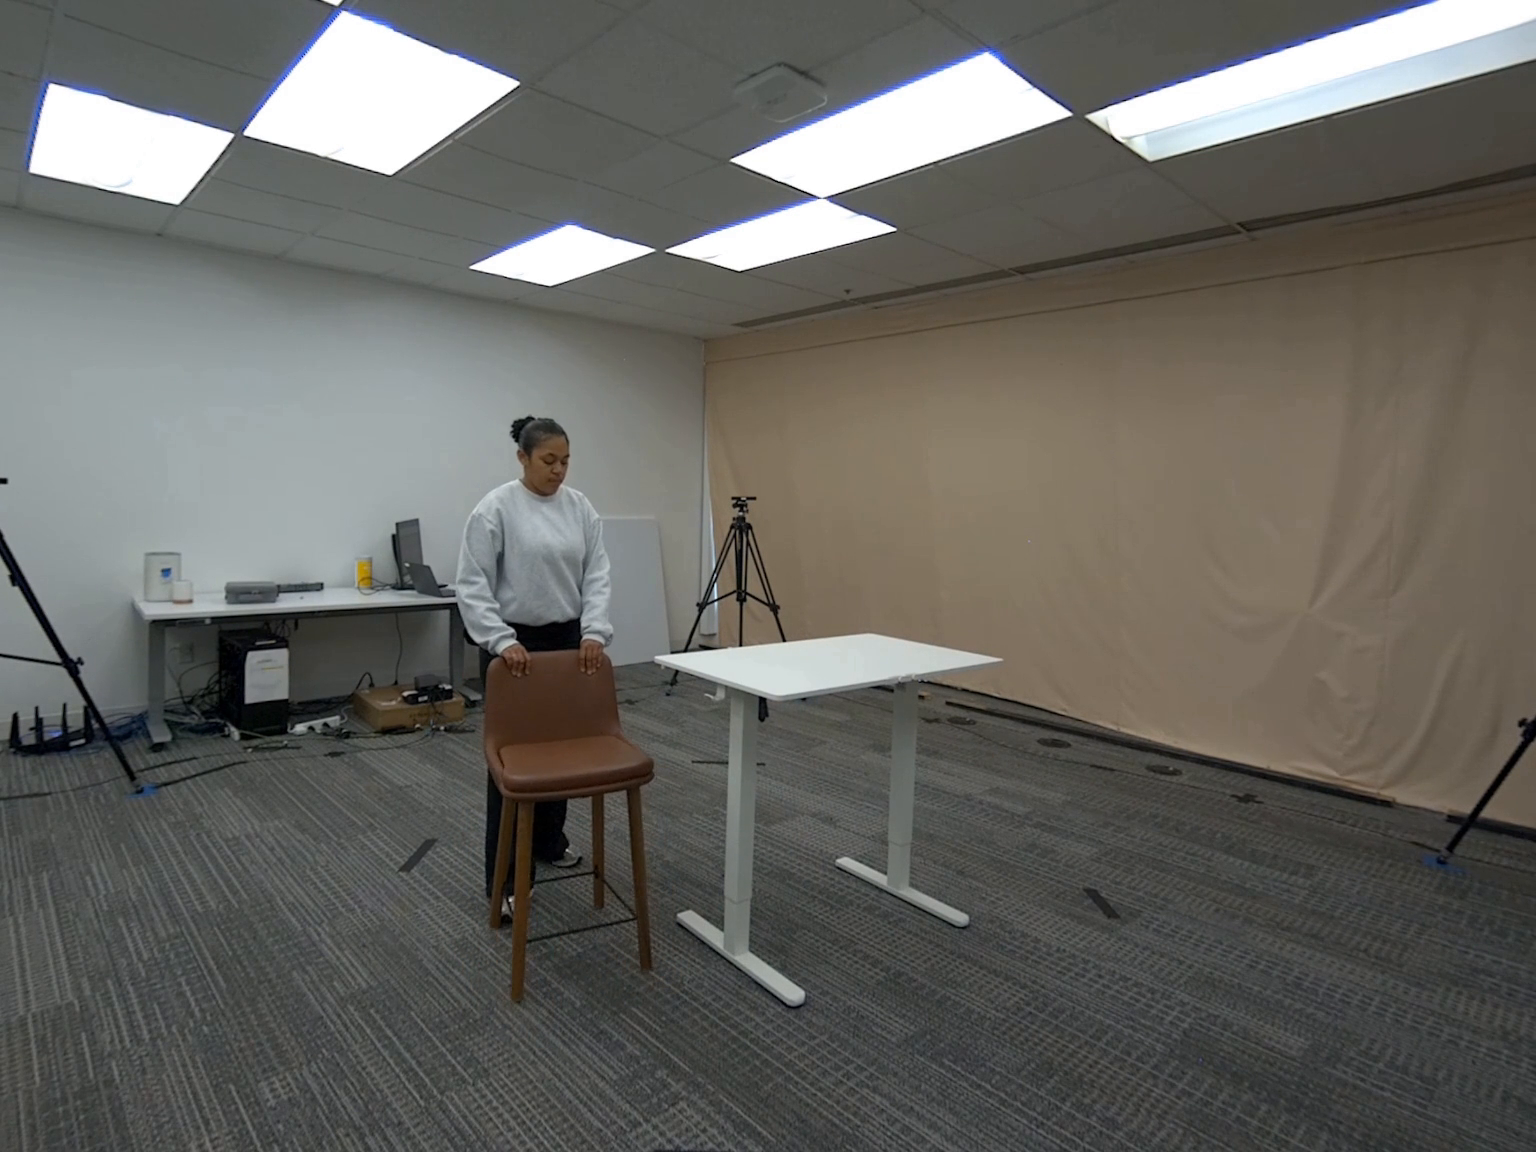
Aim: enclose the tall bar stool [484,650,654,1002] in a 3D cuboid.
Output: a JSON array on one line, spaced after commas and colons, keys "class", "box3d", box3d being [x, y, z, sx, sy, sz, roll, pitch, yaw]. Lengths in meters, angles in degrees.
[{"class": "tall bar stool", "box3d": [-0.619, 0.705, 2.569, 0.448, 0.890, 0.476, -1, 0, -27]}]
